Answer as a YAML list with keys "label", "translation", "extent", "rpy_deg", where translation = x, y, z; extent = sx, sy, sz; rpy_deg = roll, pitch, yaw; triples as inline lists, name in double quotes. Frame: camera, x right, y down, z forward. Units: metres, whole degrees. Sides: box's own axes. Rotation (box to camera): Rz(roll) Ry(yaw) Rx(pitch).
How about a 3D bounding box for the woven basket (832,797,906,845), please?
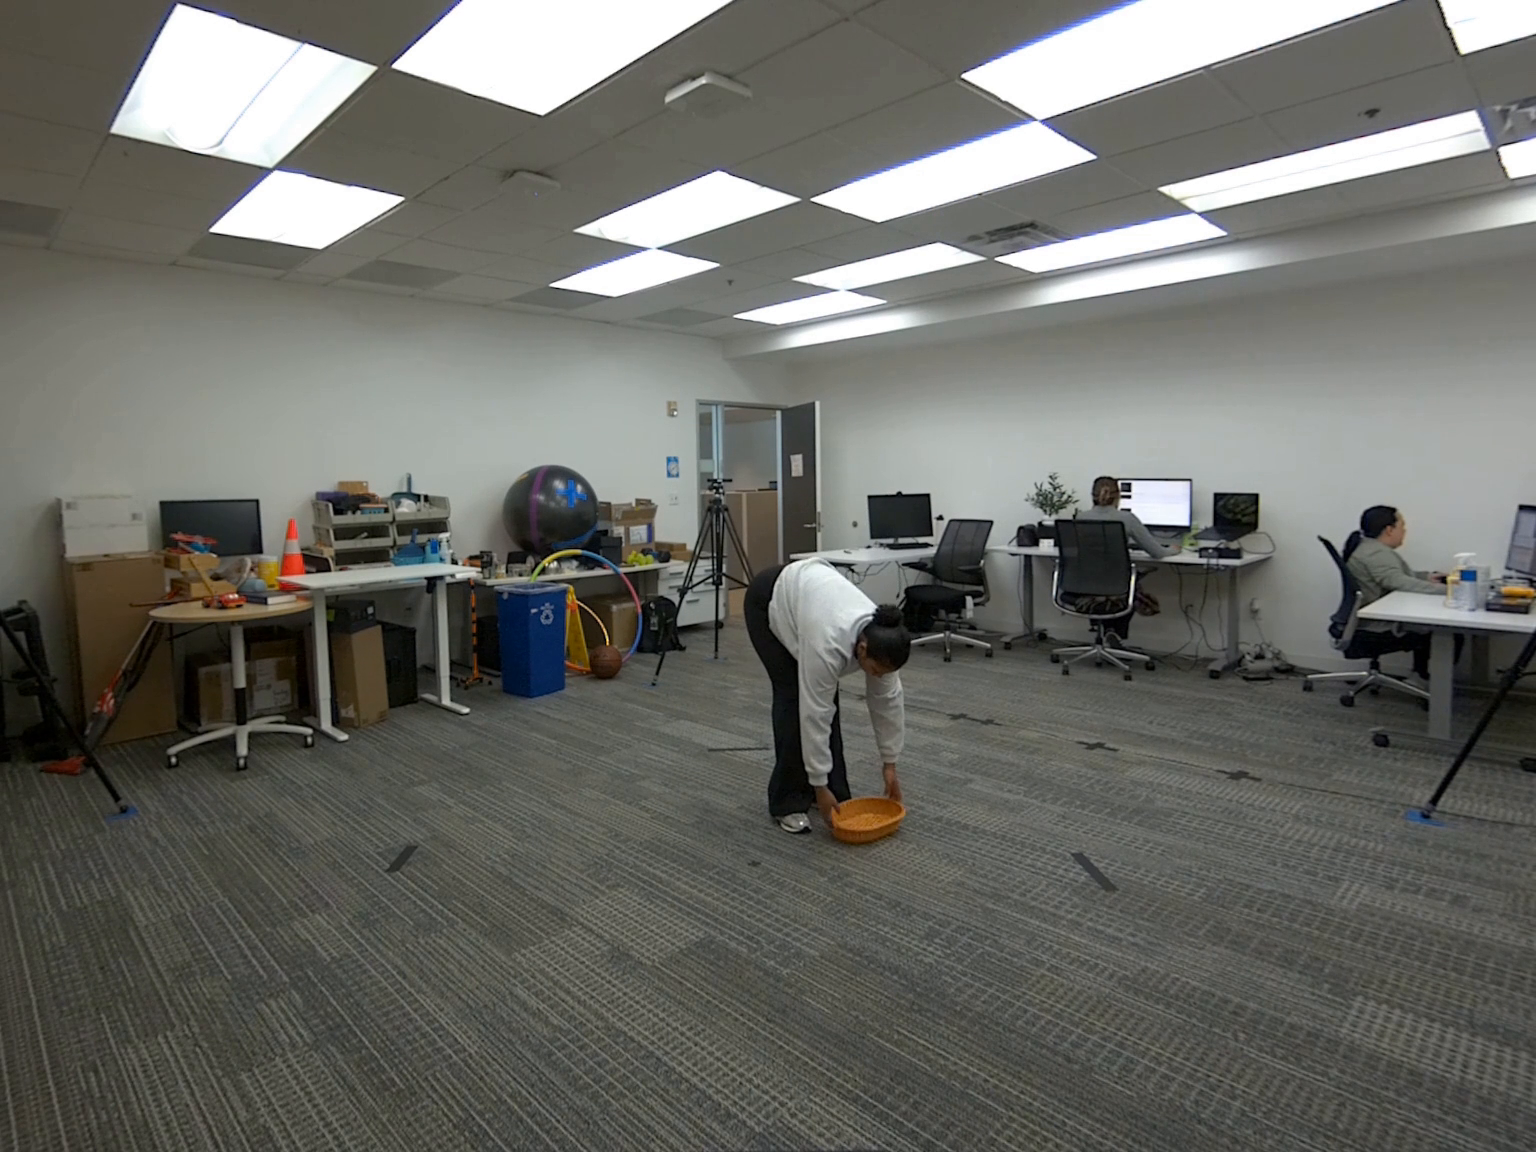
- label: "woven basket"
  translation: [0.380, 0.938, 3.351]
  extent: [0.342, 0.073, 0.259]
  rpy_deg: [-7, 7, -31]
